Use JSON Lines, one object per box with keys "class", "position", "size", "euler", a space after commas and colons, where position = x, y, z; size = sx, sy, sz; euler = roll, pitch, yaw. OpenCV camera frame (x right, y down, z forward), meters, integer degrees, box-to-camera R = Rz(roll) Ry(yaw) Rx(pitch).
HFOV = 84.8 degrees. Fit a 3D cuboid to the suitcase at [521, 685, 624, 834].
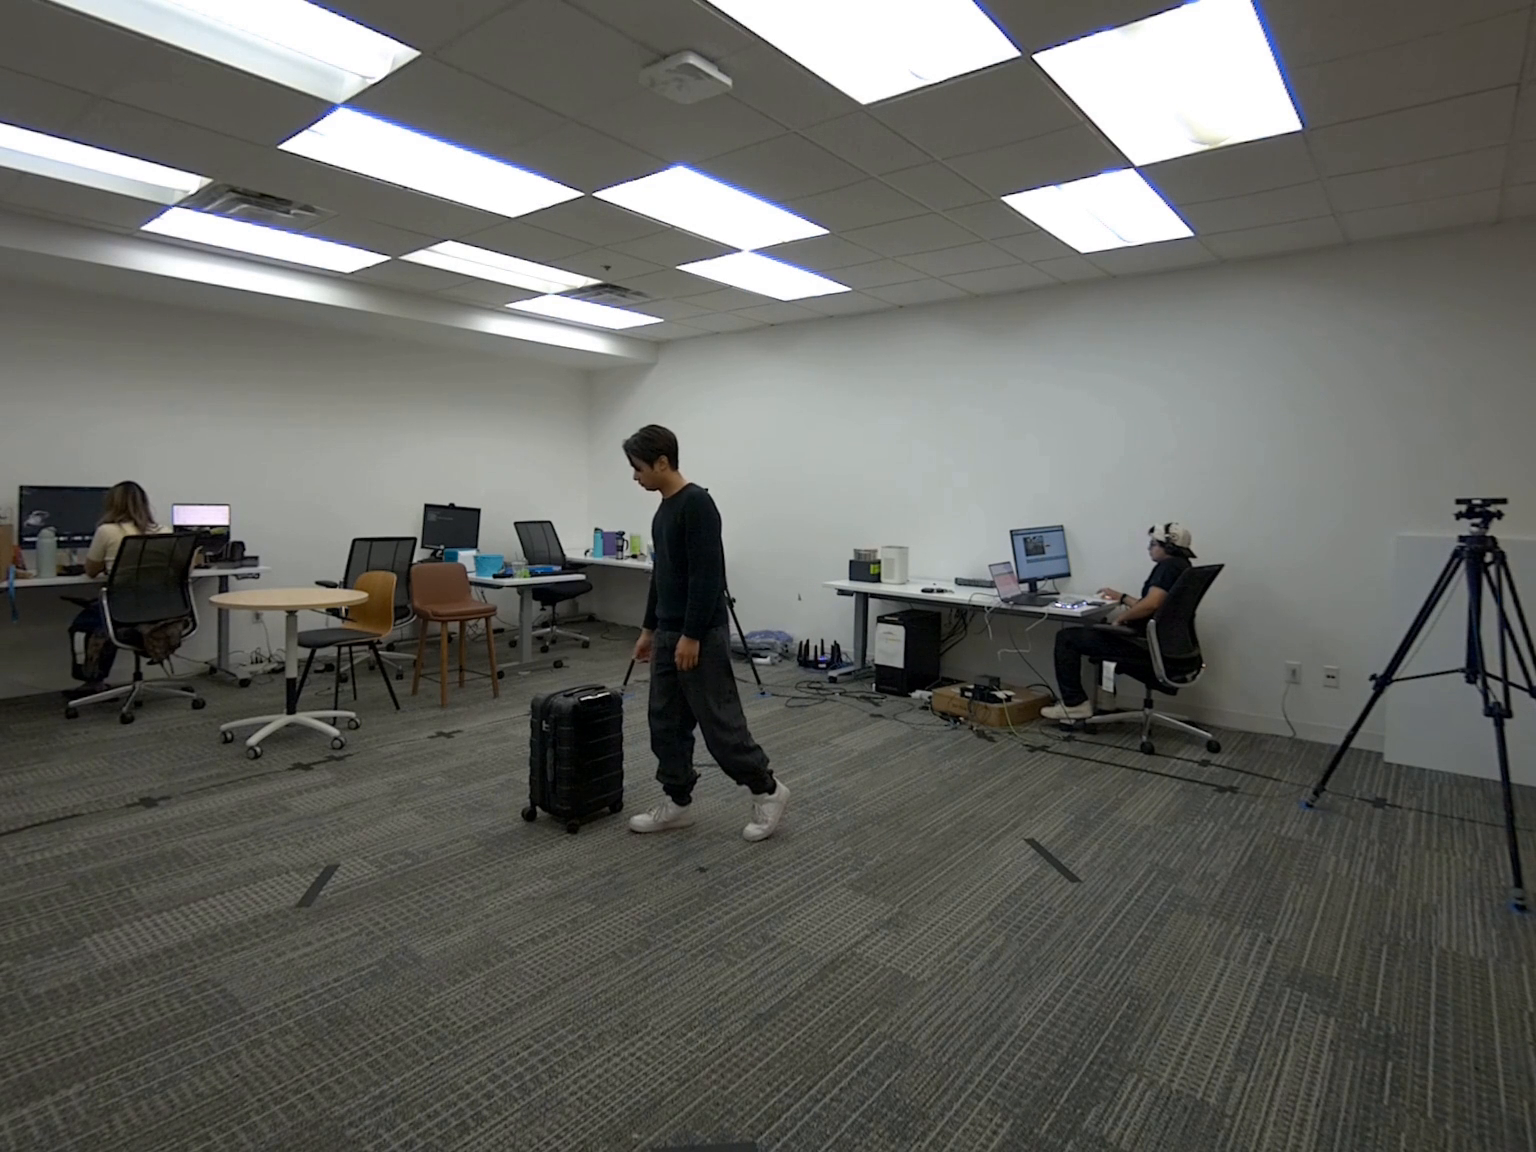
{"class": "suitcase", "position": [-0.823, 0.739, 3.594], "size": [0.256, 0.548, 0.364], "euler": [3, 4, 38]}
